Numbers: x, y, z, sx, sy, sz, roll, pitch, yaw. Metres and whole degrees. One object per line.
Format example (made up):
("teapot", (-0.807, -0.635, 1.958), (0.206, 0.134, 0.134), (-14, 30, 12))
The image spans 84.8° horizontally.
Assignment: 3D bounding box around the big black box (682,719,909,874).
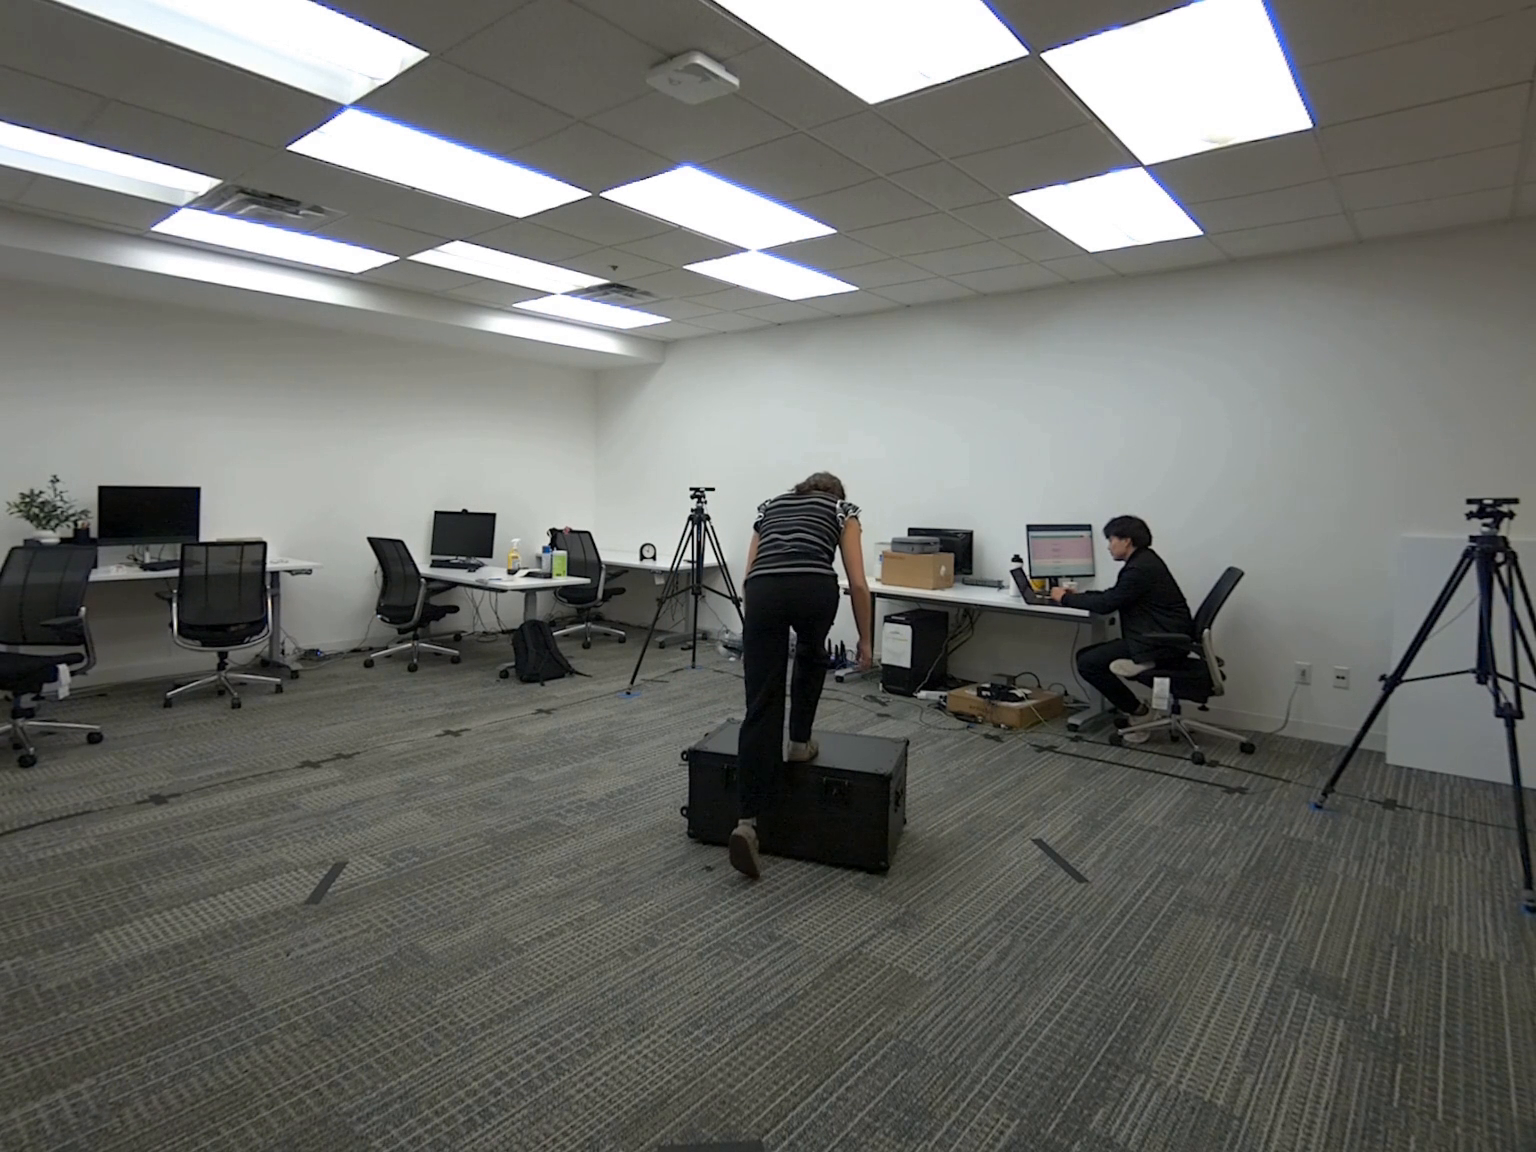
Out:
("big black box", (0.088, 0.850, 3.428), (0.880, 0.394, 0.513), (4, 6, 19))
